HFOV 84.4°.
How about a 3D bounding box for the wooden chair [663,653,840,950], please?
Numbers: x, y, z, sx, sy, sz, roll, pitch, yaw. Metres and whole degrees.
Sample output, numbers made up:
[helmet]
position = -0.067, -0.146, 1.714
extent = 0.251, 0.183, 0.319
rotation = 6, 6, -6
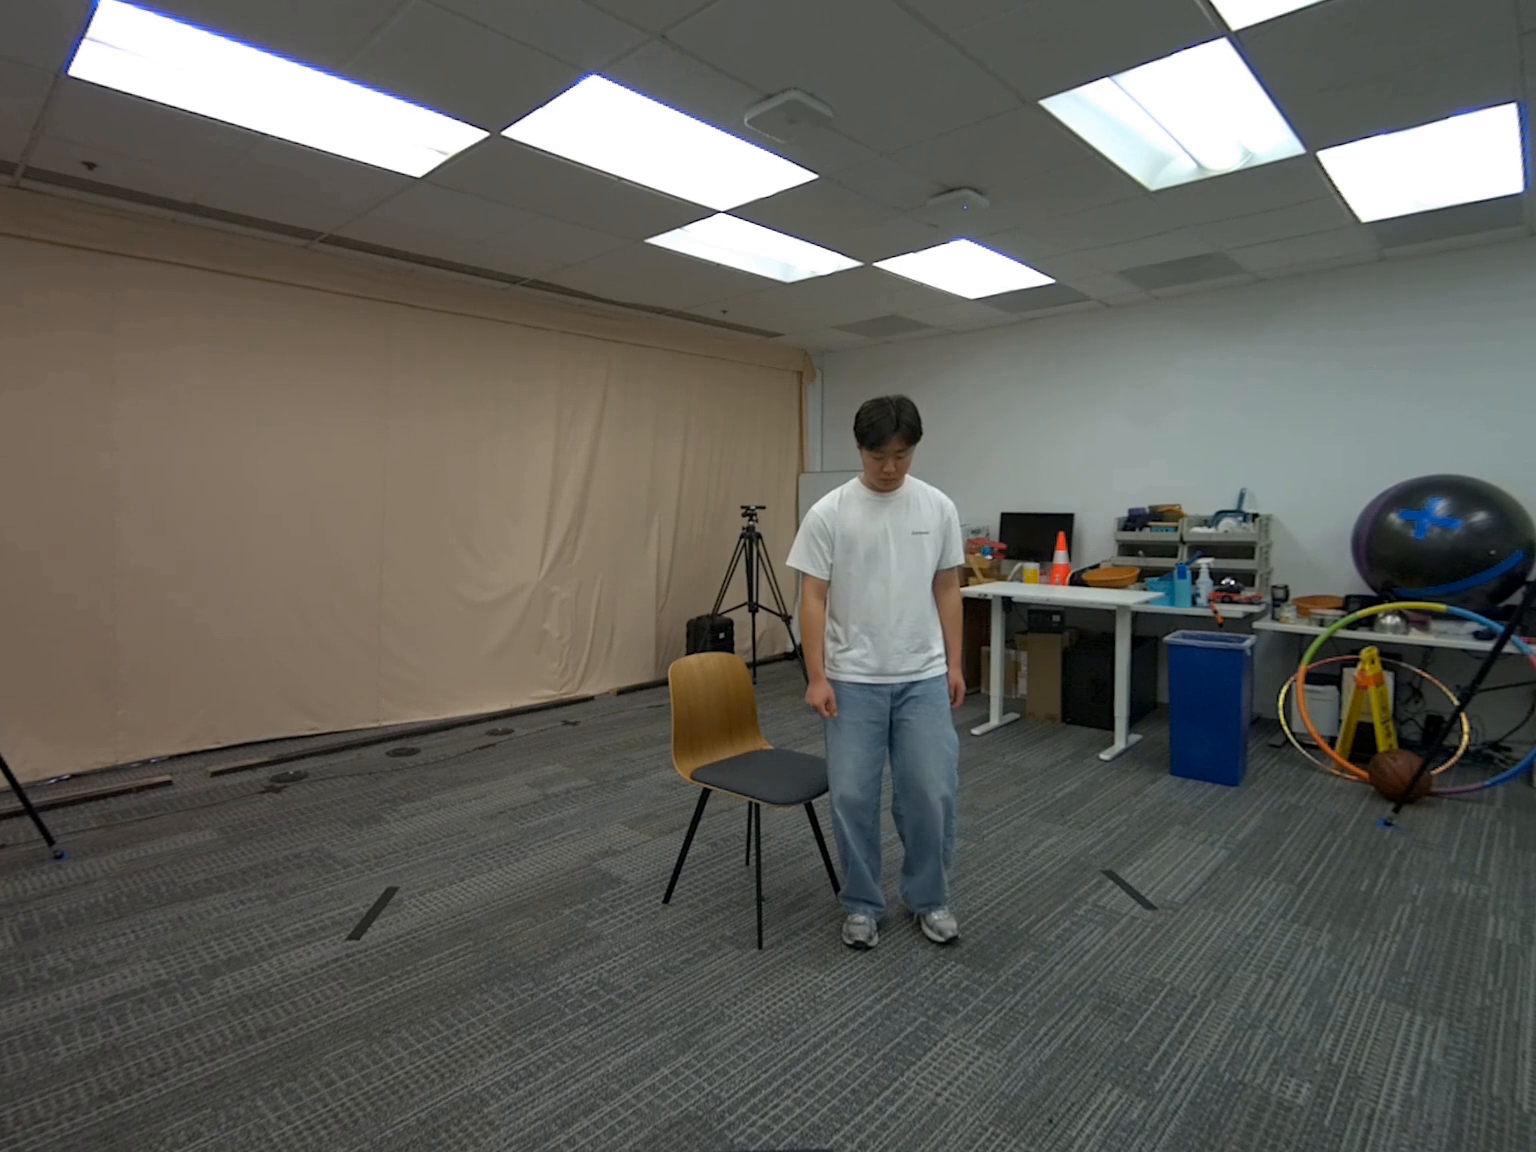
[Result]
[wooden chair]
position = -0.049, 0.724, 2.920
extent = 0.539, 0.877, 0.463
rotation = -3, 1, 42
